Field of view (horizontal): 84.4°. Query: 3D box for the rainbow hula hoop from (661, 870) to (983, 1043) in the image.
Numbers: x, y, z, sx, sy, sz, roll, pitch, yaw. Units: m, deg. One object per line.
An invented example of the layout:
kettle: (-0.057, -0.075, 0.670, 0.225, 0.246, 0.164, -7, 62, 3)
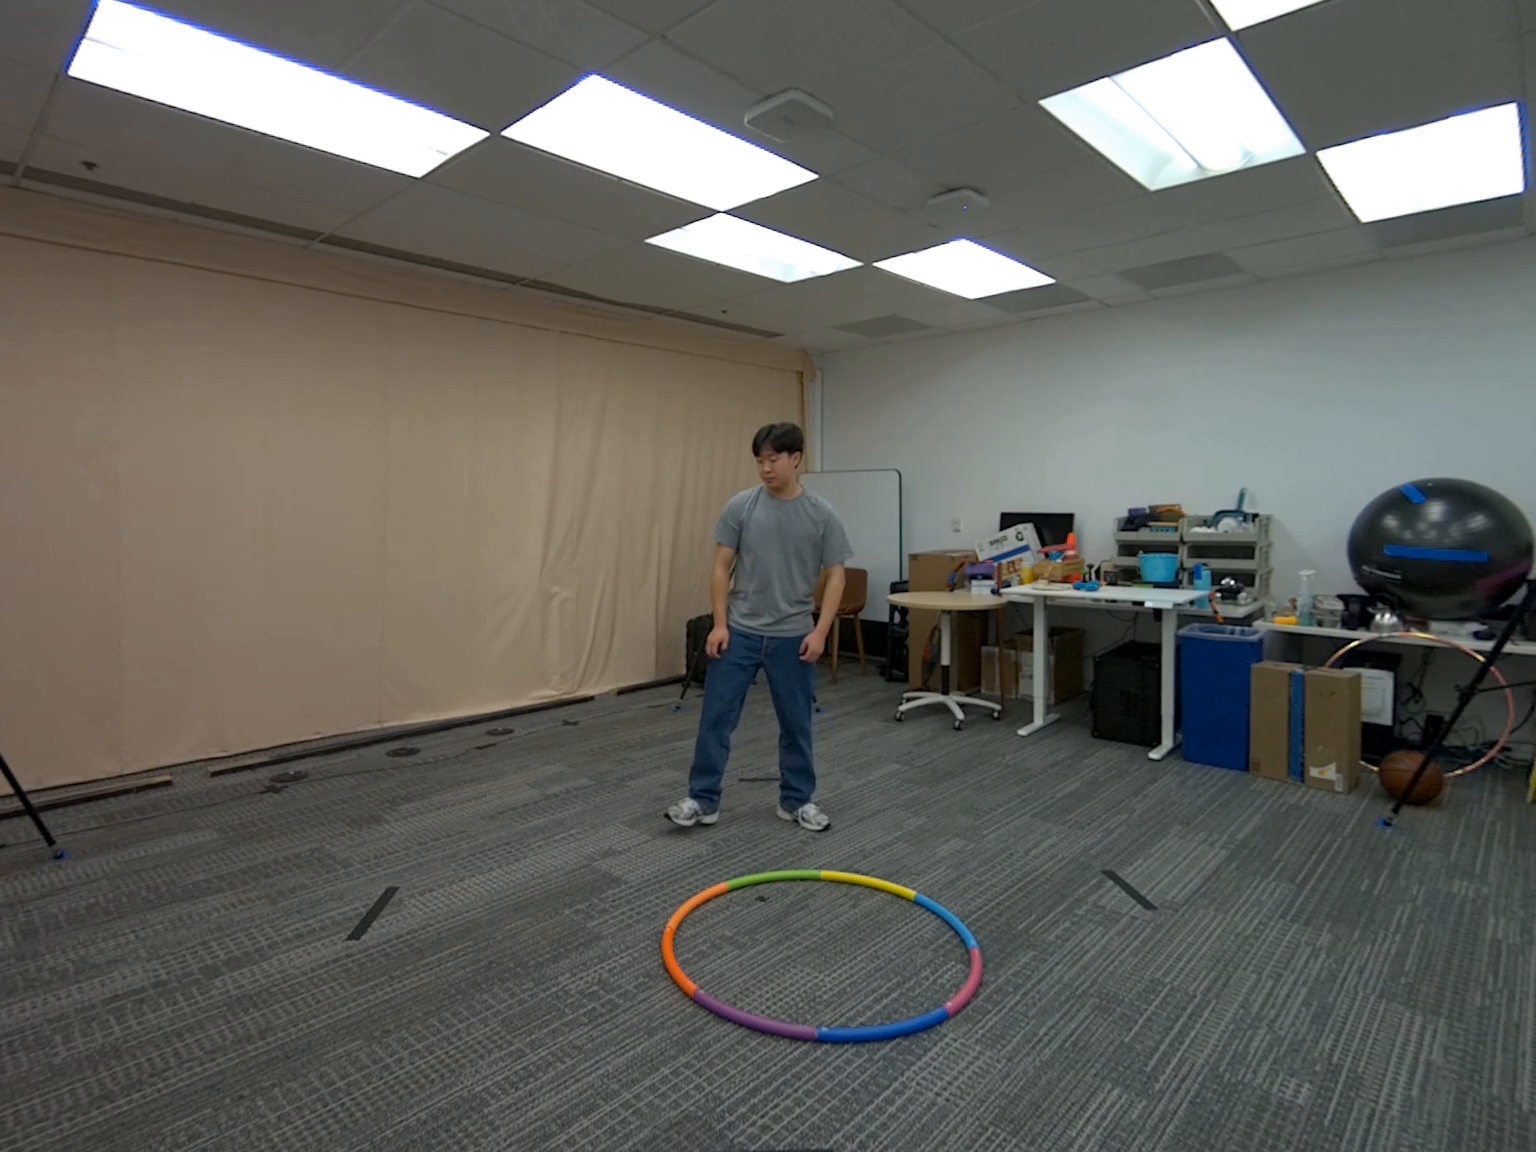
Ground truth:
rainbow hula hoop: (0.166, 1.142, 2.665, 0.978, 0.035, 0.982, 0, 5, -2)
